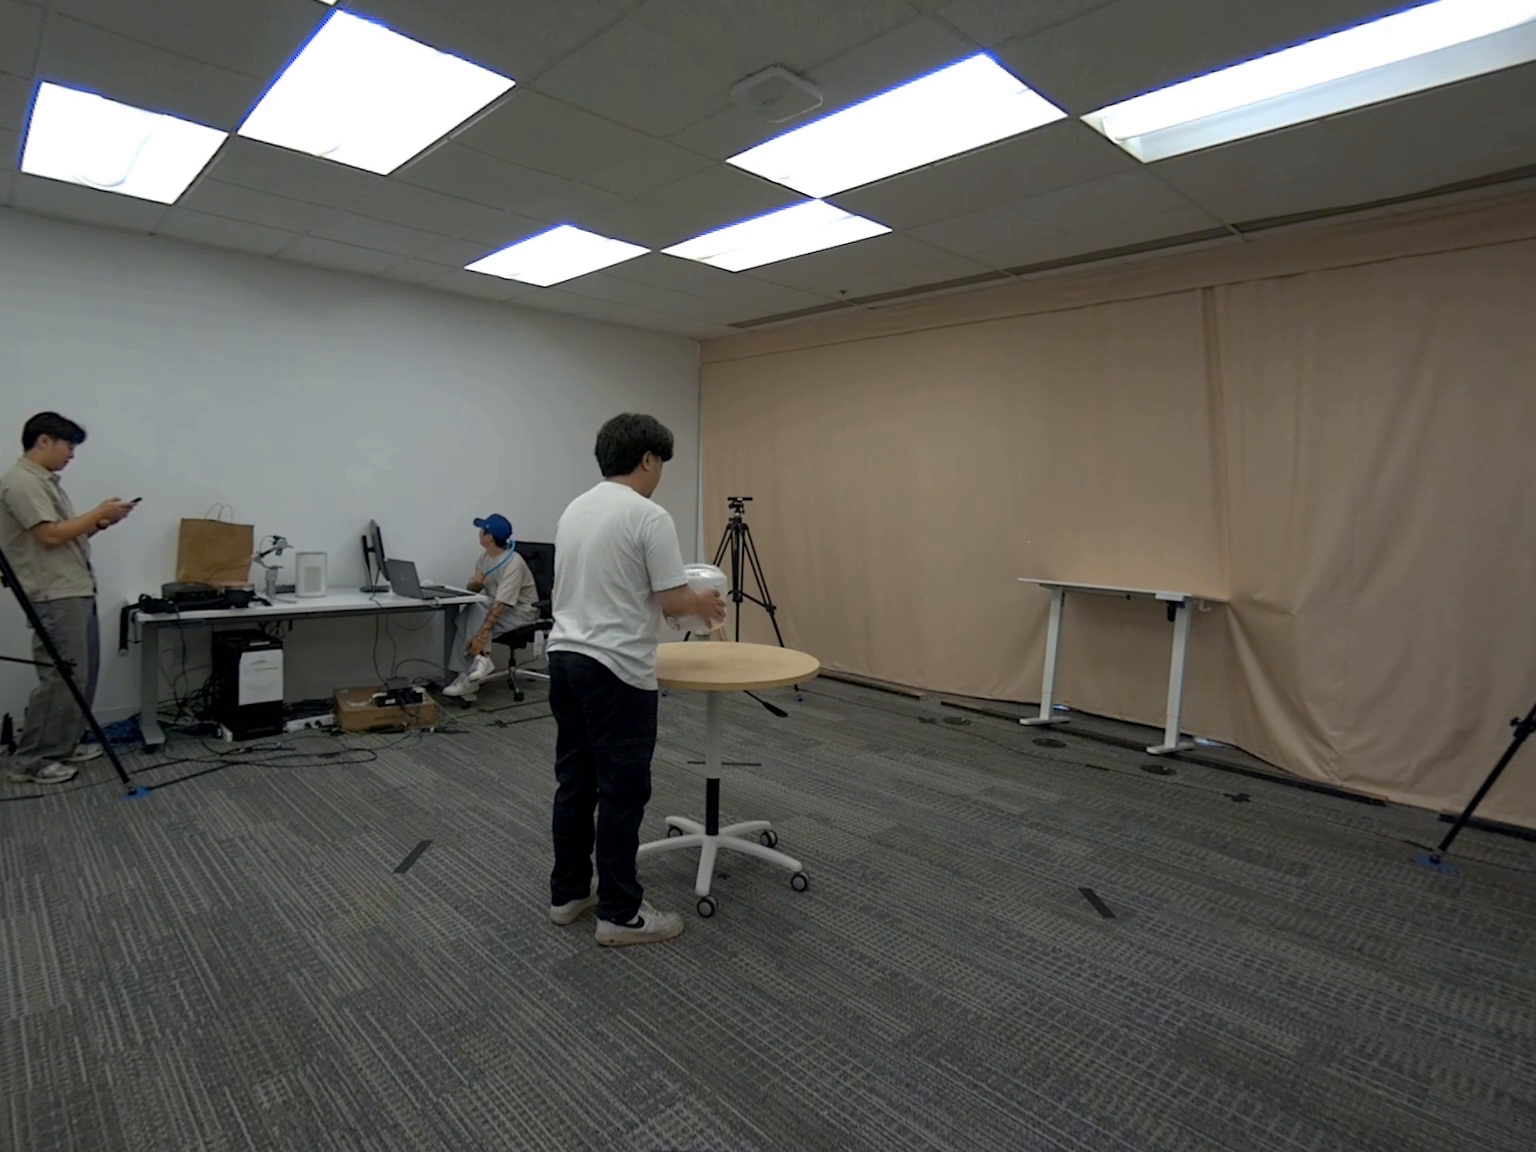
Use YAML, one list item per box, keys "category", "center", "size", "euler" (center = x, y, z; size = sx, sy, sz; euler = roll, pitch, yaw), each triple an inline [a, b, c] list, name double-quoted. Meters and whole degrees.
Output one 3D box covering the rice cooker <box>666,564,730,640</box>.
- category: "rice cooker"
  center: [-0.262, 0.073, 3.024]
  size: [0.222, 0.232, 0.217]
  euler: [2, 5, 7]
